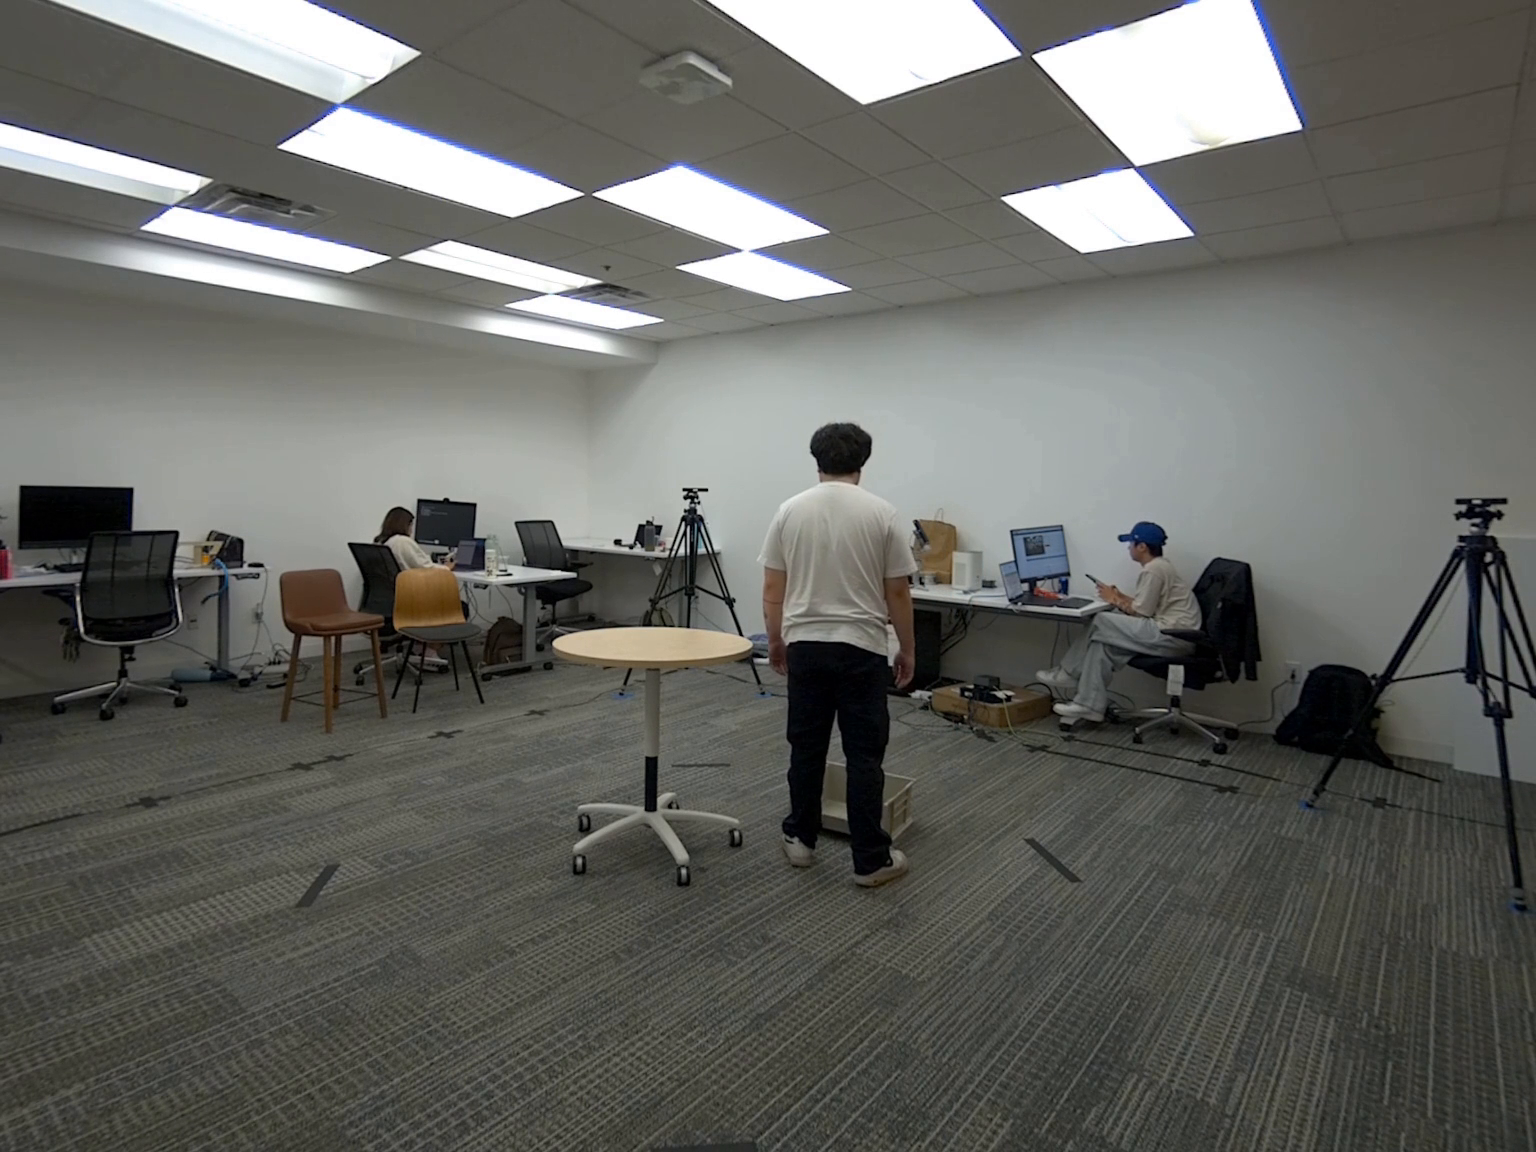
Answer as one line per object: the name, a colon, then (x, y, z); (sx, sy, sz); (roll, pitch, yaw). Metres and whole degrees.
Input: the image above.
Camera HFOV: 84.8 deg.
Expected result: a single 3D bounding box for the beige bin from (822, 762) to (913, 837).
beige bin: (0.343, 0.941, 3.554); (0.435, 0.188, 0.368); (3, 5, 30)
